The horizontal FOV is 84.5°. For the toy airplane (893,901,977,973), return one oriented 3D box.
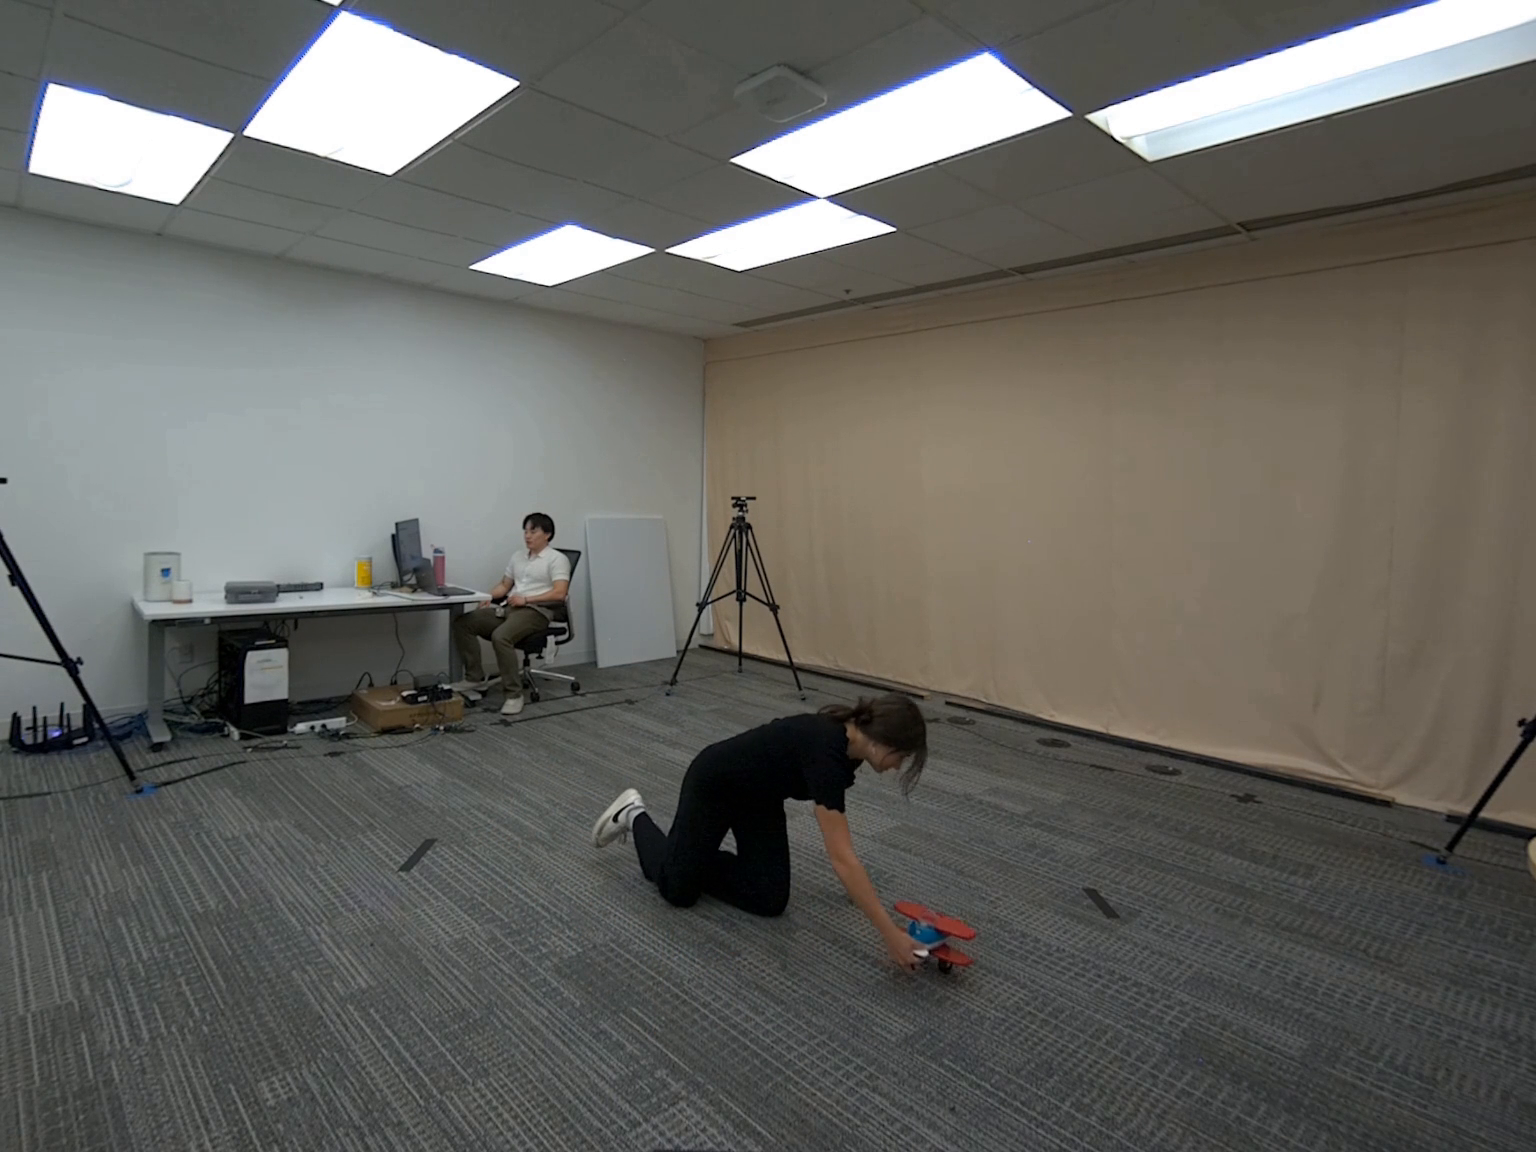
[{"bbox_3d":[0.470,1.079,2.466,0.254,0.157,0.255,16,-13,10],"label":"toy airplane"}]
